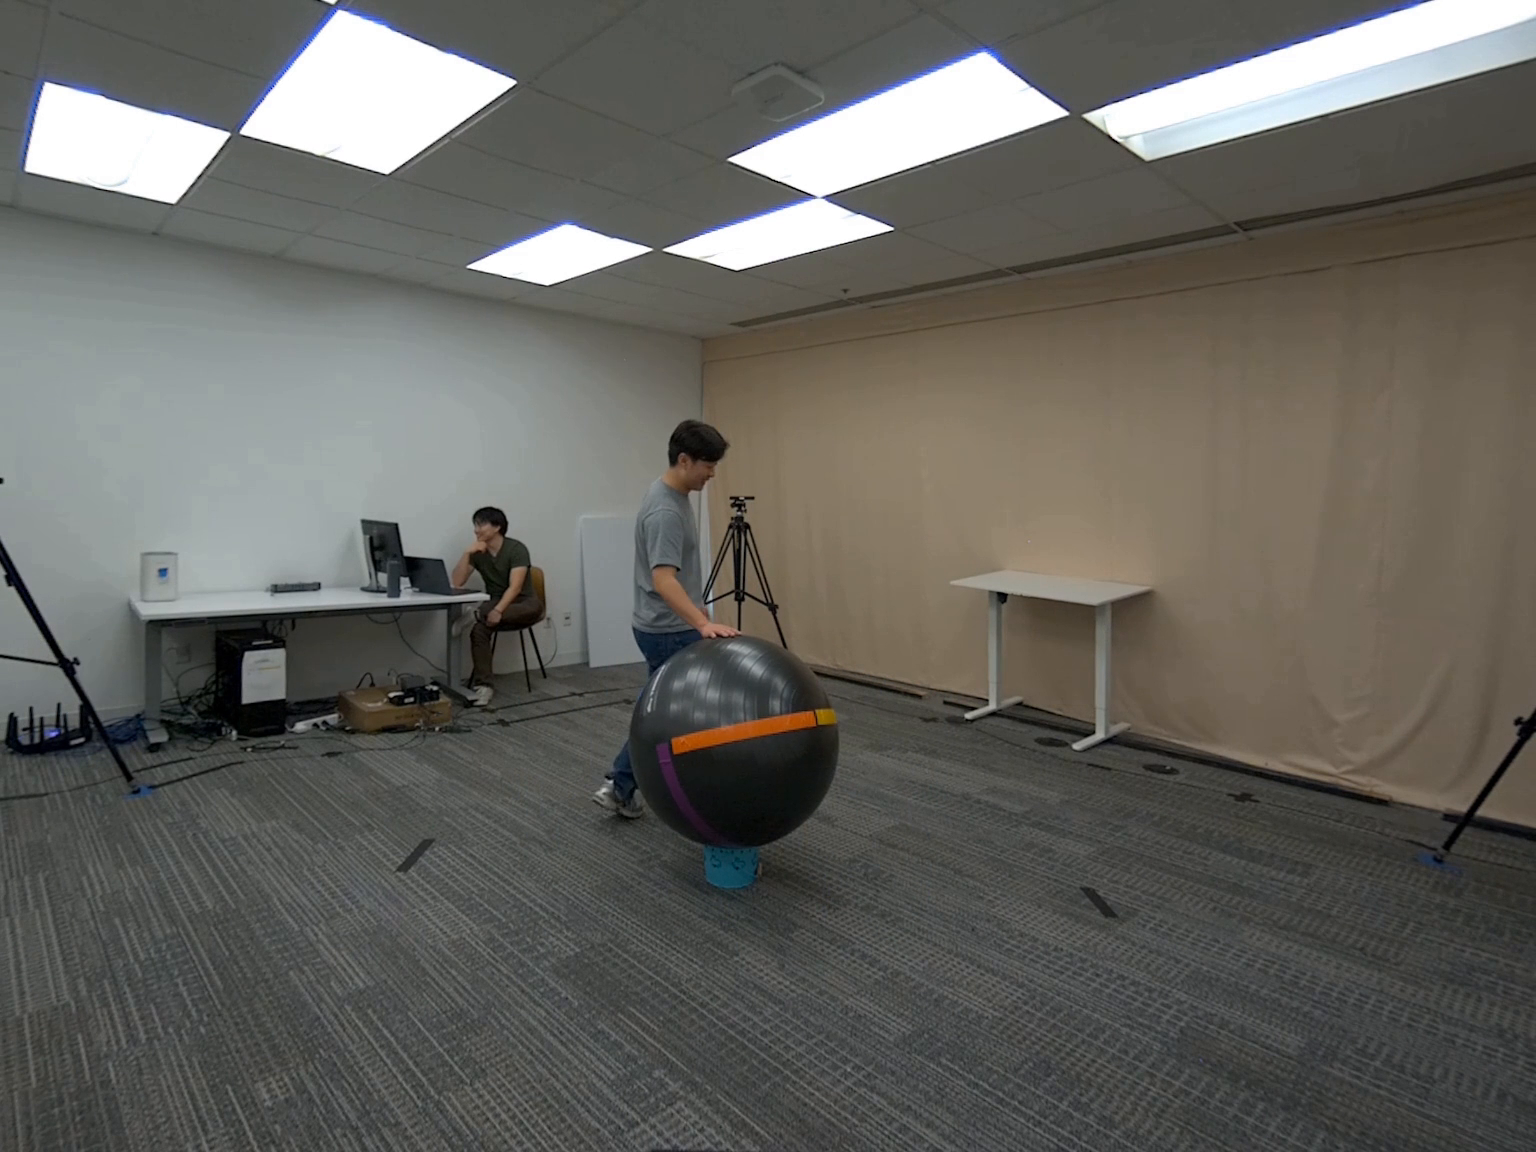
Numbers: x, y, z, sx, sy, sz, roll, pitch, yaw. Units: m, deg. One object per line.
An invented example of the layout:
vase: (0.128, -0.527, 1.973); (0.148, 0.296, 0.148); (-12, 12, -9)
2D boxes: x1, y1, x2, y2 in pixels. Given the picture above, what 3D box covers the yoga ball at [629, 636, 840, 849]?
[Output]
yoga ball: (-0.128, 0.596, 3.061); (0.757, 0.756, 0.761); (1, 4, -1)
